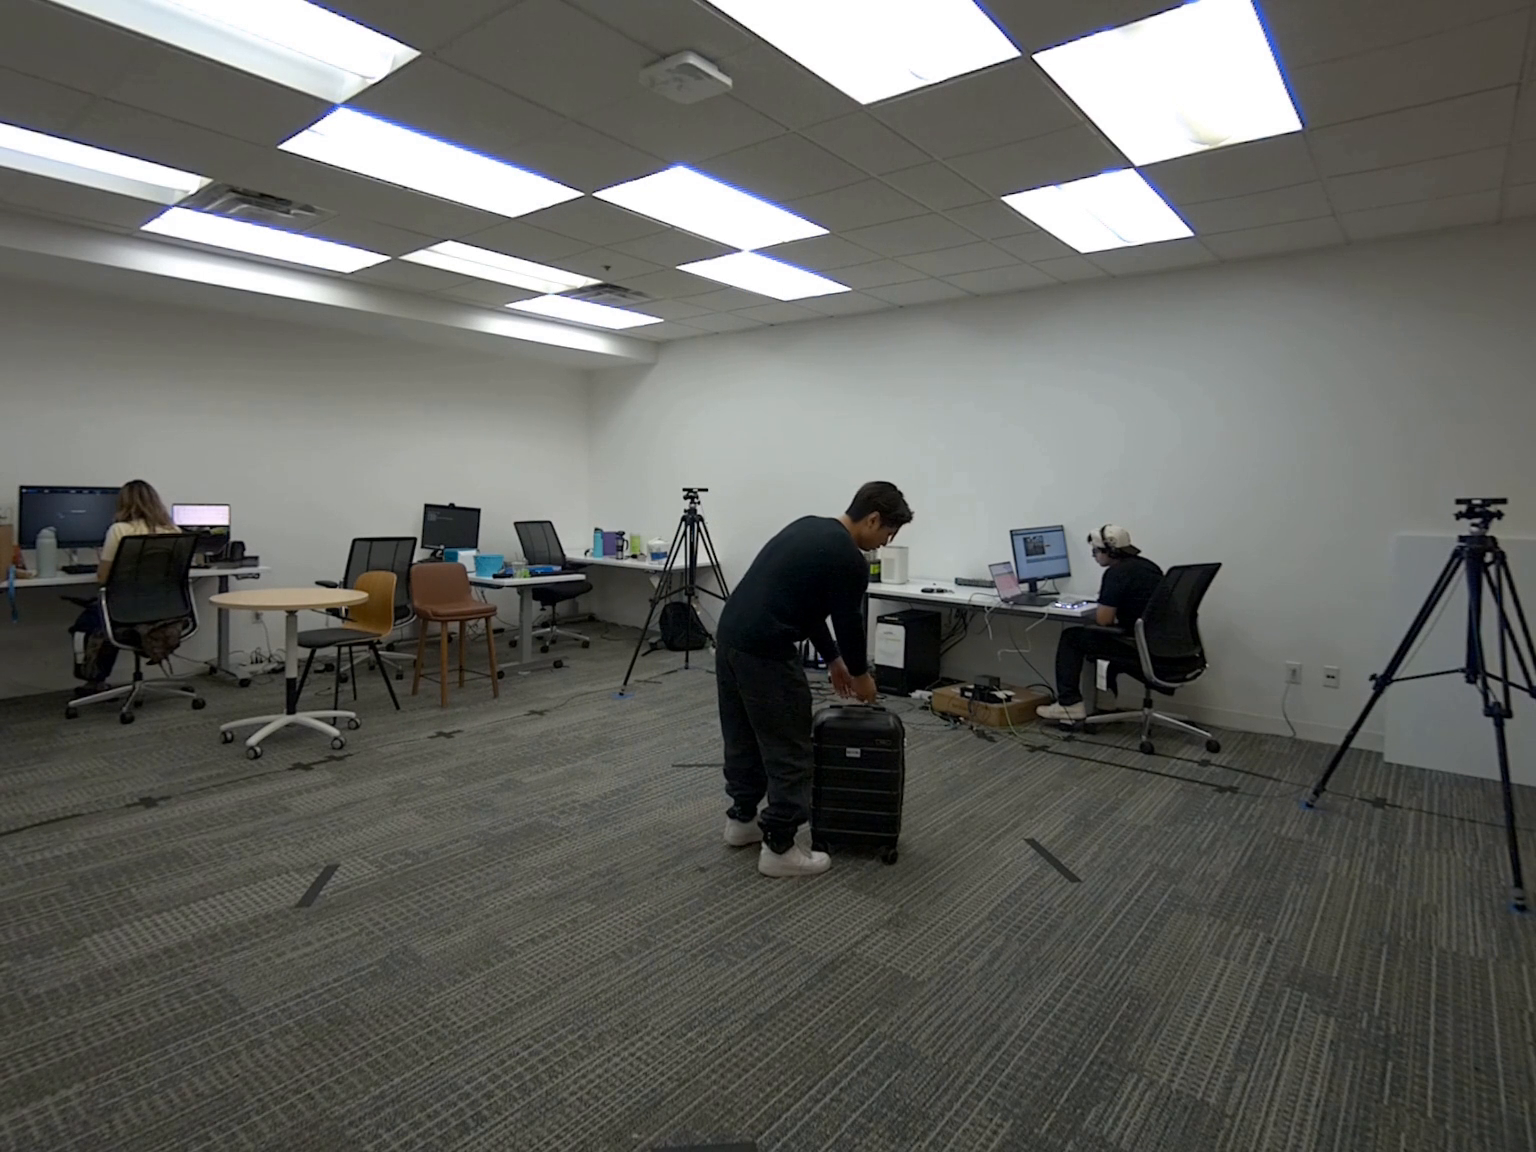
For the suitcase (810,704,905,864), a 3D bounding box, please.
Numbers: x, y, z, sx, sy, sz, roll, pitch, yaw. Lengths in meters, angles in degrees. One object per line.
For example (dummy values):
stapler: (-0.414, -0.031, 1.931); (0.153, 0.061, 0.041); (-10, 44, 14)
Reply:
suitcase: (0.344, 0.783, 3.346); (0.378, 0.547, 0.247); (2, 4, 6)
